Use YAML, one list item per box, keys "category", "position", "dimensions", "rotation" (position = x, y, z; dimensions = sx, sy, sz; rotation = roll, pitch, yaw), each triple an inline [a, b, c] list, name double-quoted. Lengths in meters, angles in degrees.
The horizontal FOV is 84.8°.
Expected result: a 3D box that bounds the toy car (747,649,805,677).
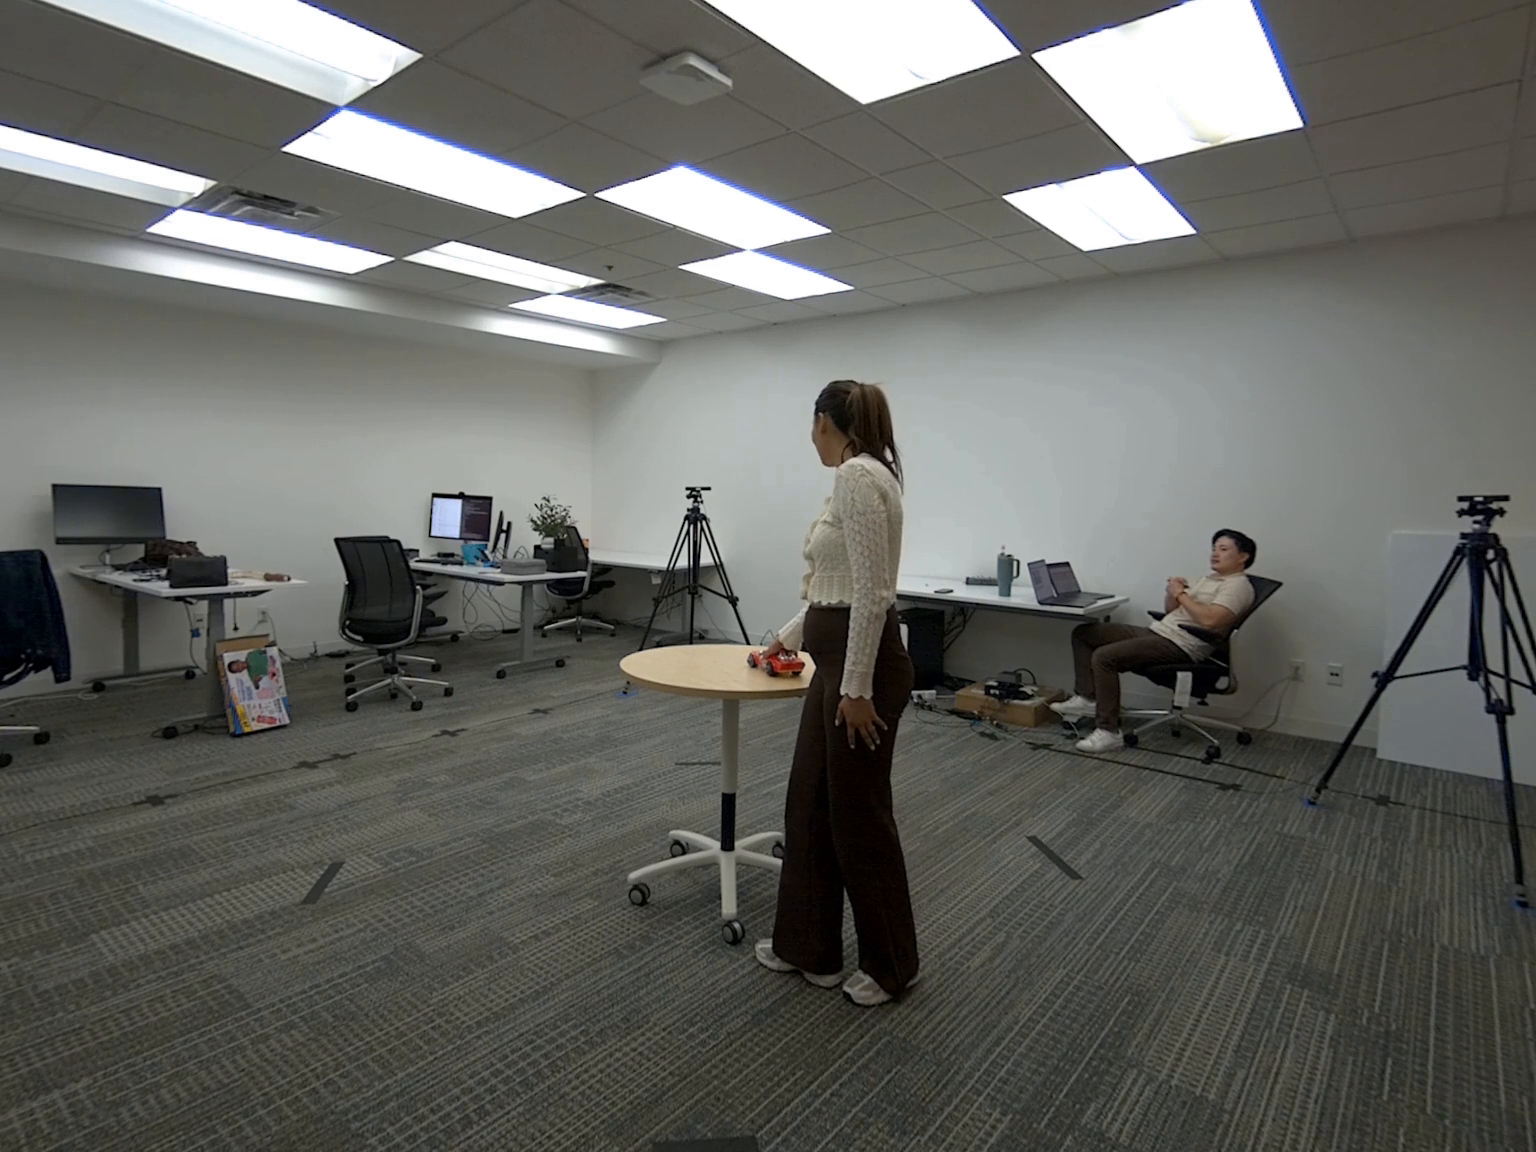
- category: "toy car"
  position: [0.022, 0.284, 2.810]
  dimensions: [0.127, 0.084, 0.259]
  rotation: [0, -6, -25]
